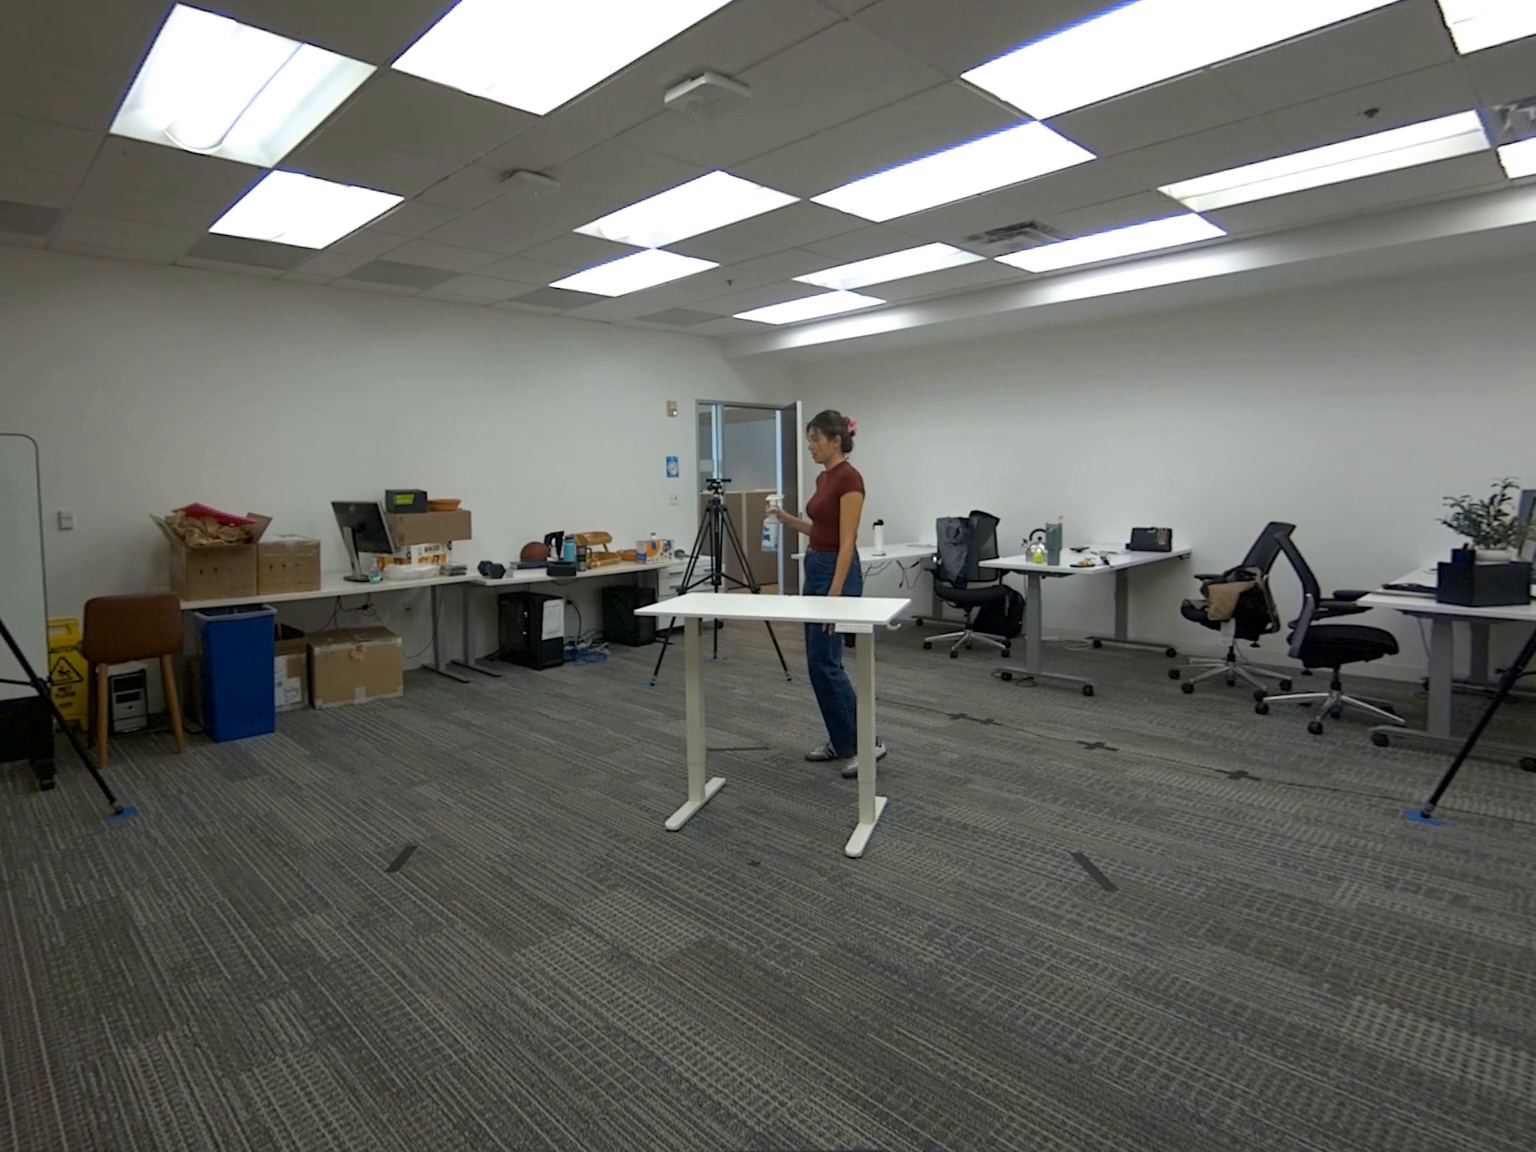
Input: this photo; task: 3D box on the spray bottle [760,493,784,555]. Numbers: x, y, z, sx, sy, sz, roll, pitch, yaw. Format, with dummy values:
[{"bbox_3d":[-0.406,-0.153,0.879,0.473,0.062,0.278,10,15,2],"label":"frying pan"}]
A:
[{"bbox_3d":[0.023,-0.269,4.345,0.091,0.296,0.086,5,4,14],"label":"spray bottle"}]
